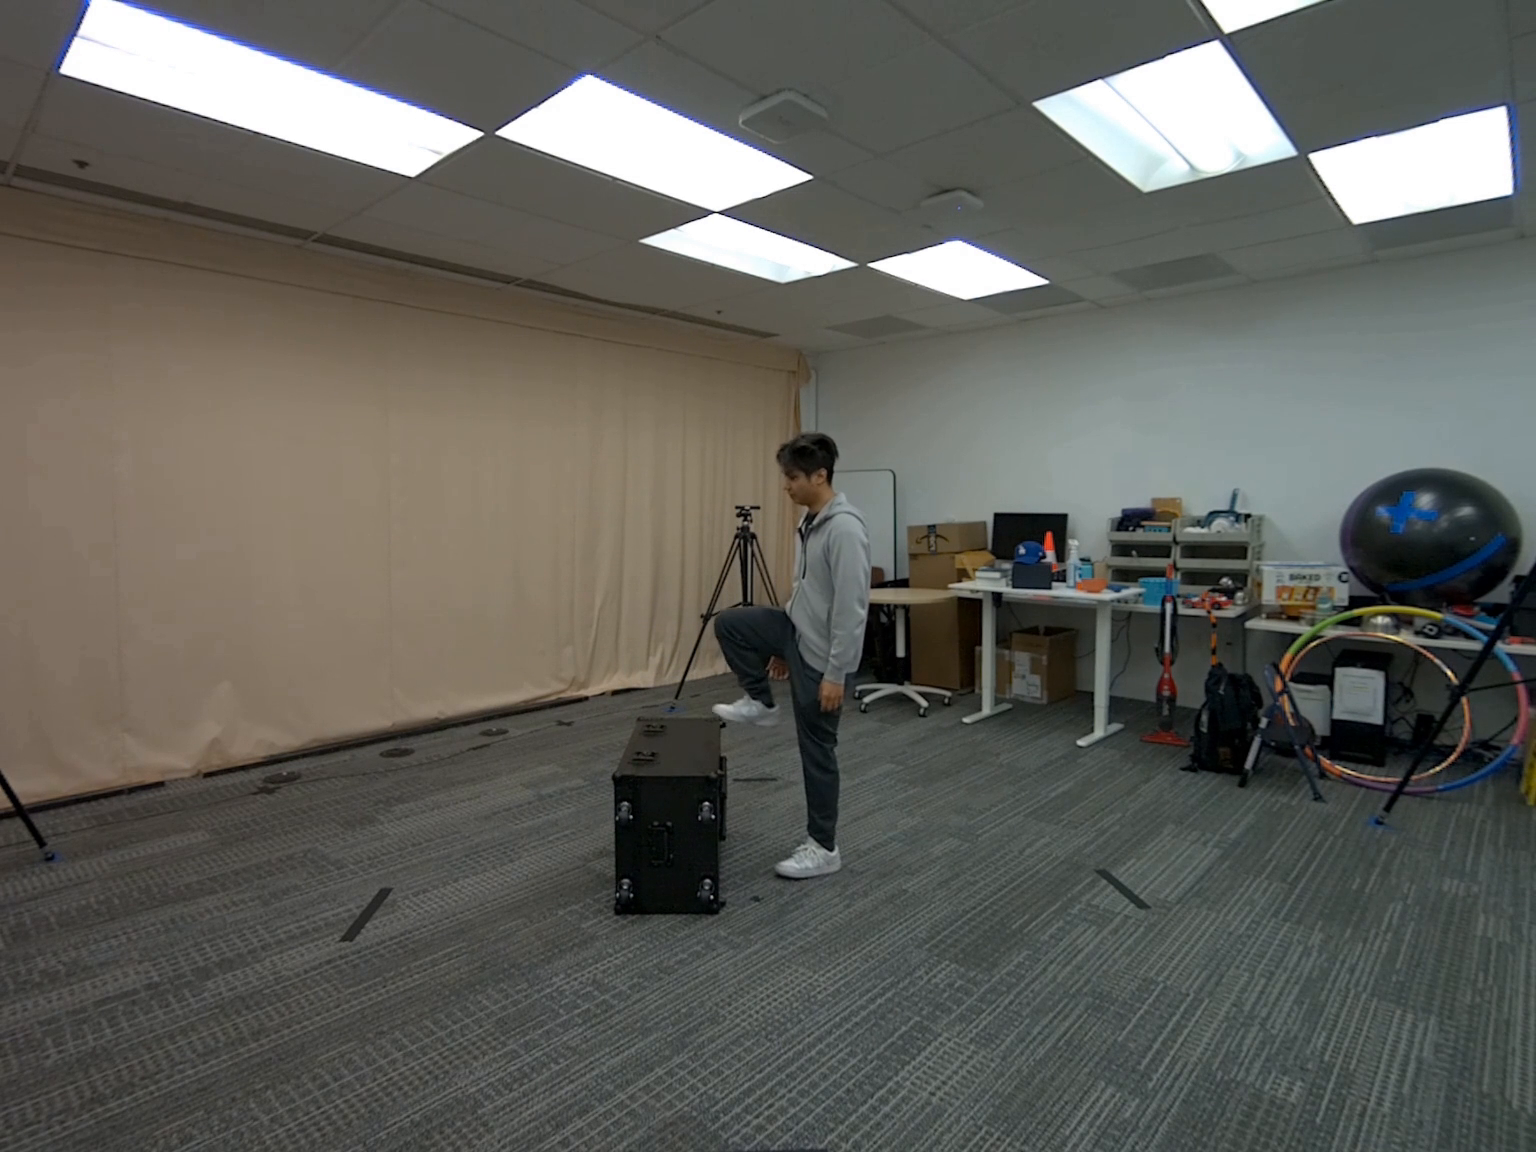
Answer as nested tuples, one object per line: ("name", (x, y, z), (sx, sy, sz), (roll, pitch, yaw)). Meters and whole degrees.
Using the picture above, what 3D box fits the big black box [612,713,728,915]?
("big black box", (-0.349, 0.882, 3.211), (0.396, 0.520, 0.864), (0, 4, -1))
